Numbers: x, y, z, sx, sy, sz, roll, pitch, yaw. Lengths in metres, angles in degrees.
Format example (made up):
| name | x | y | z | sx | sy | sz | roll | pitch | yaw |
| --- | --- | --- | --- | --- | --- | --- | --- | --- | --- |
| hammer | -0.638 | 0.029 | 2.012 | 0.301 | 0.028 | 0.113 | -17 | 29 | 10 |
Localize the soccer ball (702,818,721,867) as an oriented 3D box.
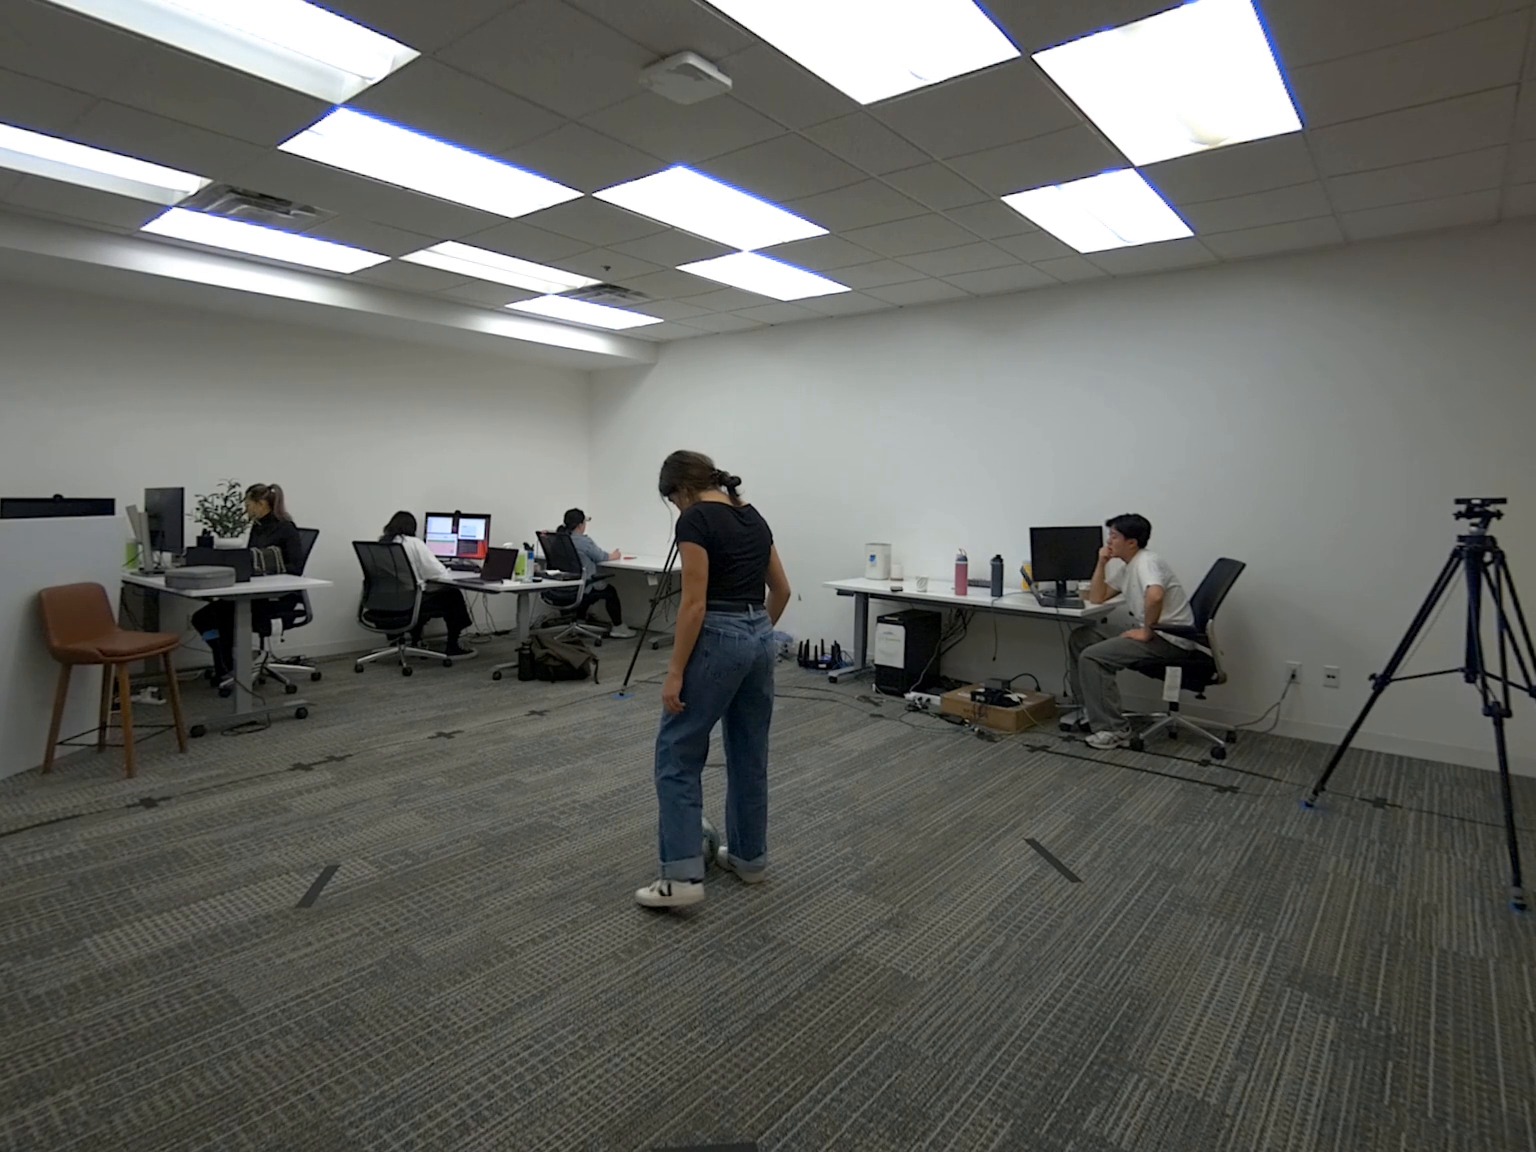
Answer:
| name | x | y | z | sx | sy | sz | roll | pitch | yaw |
| --- | --- | --- | --- | --- | --- | --- | --- | --- | --- |
| soccer ball | -0.271 | 0.969 | 3.126 | 0.187 | 0.187 | 0.188 | 1 | 4 | -2 |
